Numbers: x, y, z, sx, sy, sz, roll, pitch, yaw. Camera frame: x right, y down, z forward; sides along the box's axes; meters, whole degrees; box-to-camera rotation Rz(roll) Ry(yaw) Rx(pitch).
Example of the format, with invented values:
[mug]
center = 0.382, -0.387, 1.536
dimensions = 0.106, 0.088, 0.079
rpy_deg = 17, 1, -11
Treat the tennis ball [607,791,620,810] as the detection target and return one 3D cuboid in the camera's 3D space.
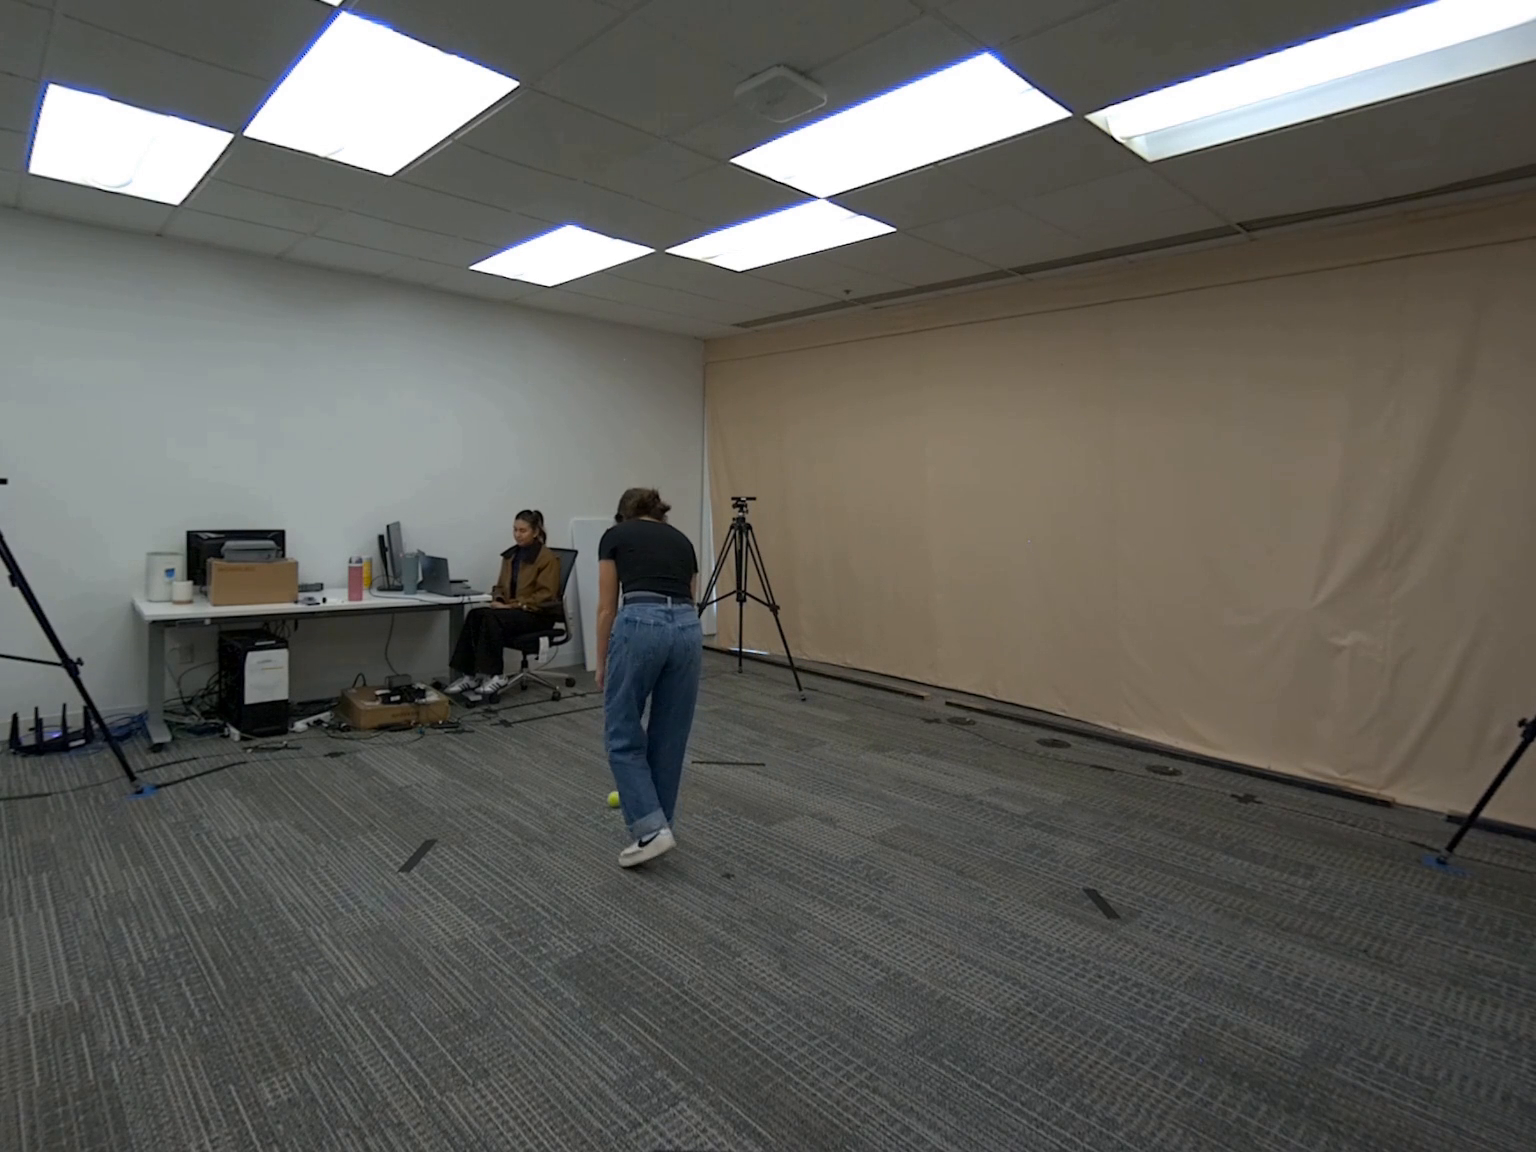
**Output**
[tennis ball]
center = -0.699, 0.995, 3.762
dimensions = 0.066, 0.066, 0.067
rpy_deg = 1, 4, -1
